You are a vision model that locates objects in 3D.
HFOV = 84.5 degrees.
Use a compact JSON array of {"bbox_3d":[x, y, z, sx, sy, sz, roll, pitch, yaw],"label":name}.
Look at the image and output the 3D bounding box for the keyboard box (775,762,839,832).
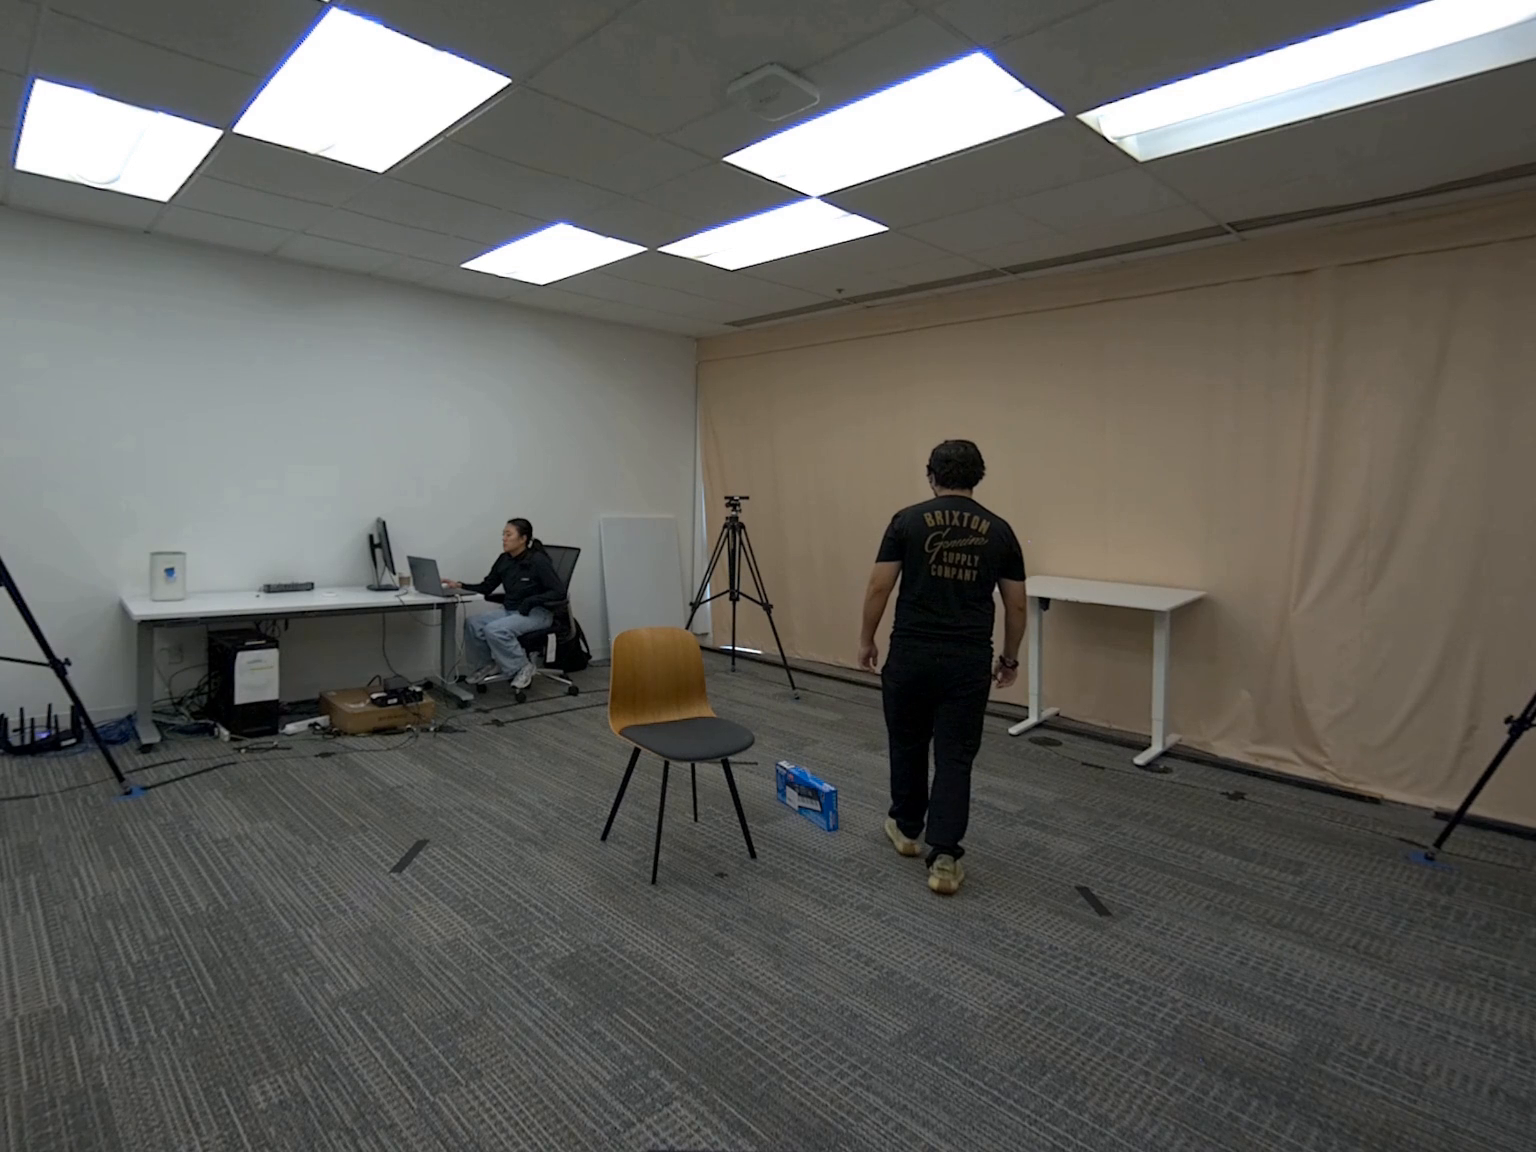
[{"bbox_3d":[0.159,0.973,3.744,0.058,0.175,0.446,-4,7,-28],"label":"keyboard box"}]
